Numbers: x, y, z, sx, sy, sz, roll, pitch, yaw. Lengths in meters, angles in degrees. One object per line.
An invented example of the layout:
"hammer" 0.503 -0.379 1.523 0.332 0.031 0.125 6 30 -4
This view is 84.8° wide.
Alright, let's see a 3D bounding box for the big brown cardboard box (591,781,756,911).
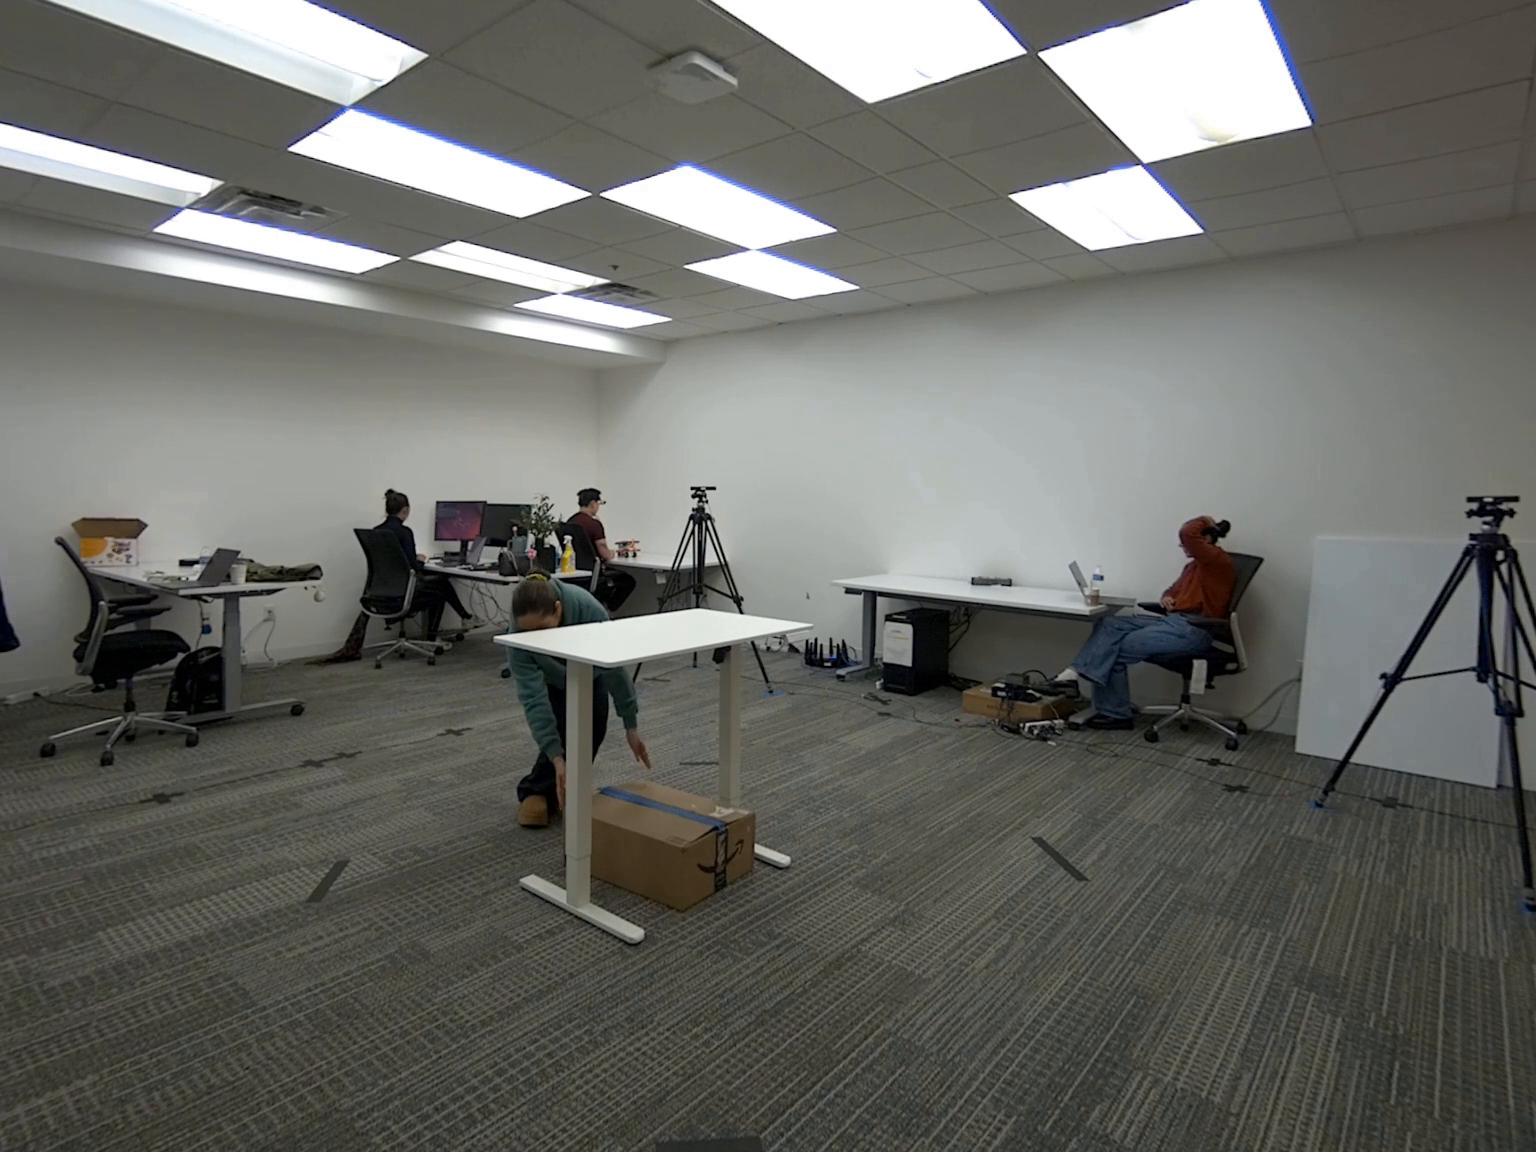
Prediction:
"big brown cardboard box" -0.411 0.942 3.094 0.608 0.232 0.406 4 6 35
